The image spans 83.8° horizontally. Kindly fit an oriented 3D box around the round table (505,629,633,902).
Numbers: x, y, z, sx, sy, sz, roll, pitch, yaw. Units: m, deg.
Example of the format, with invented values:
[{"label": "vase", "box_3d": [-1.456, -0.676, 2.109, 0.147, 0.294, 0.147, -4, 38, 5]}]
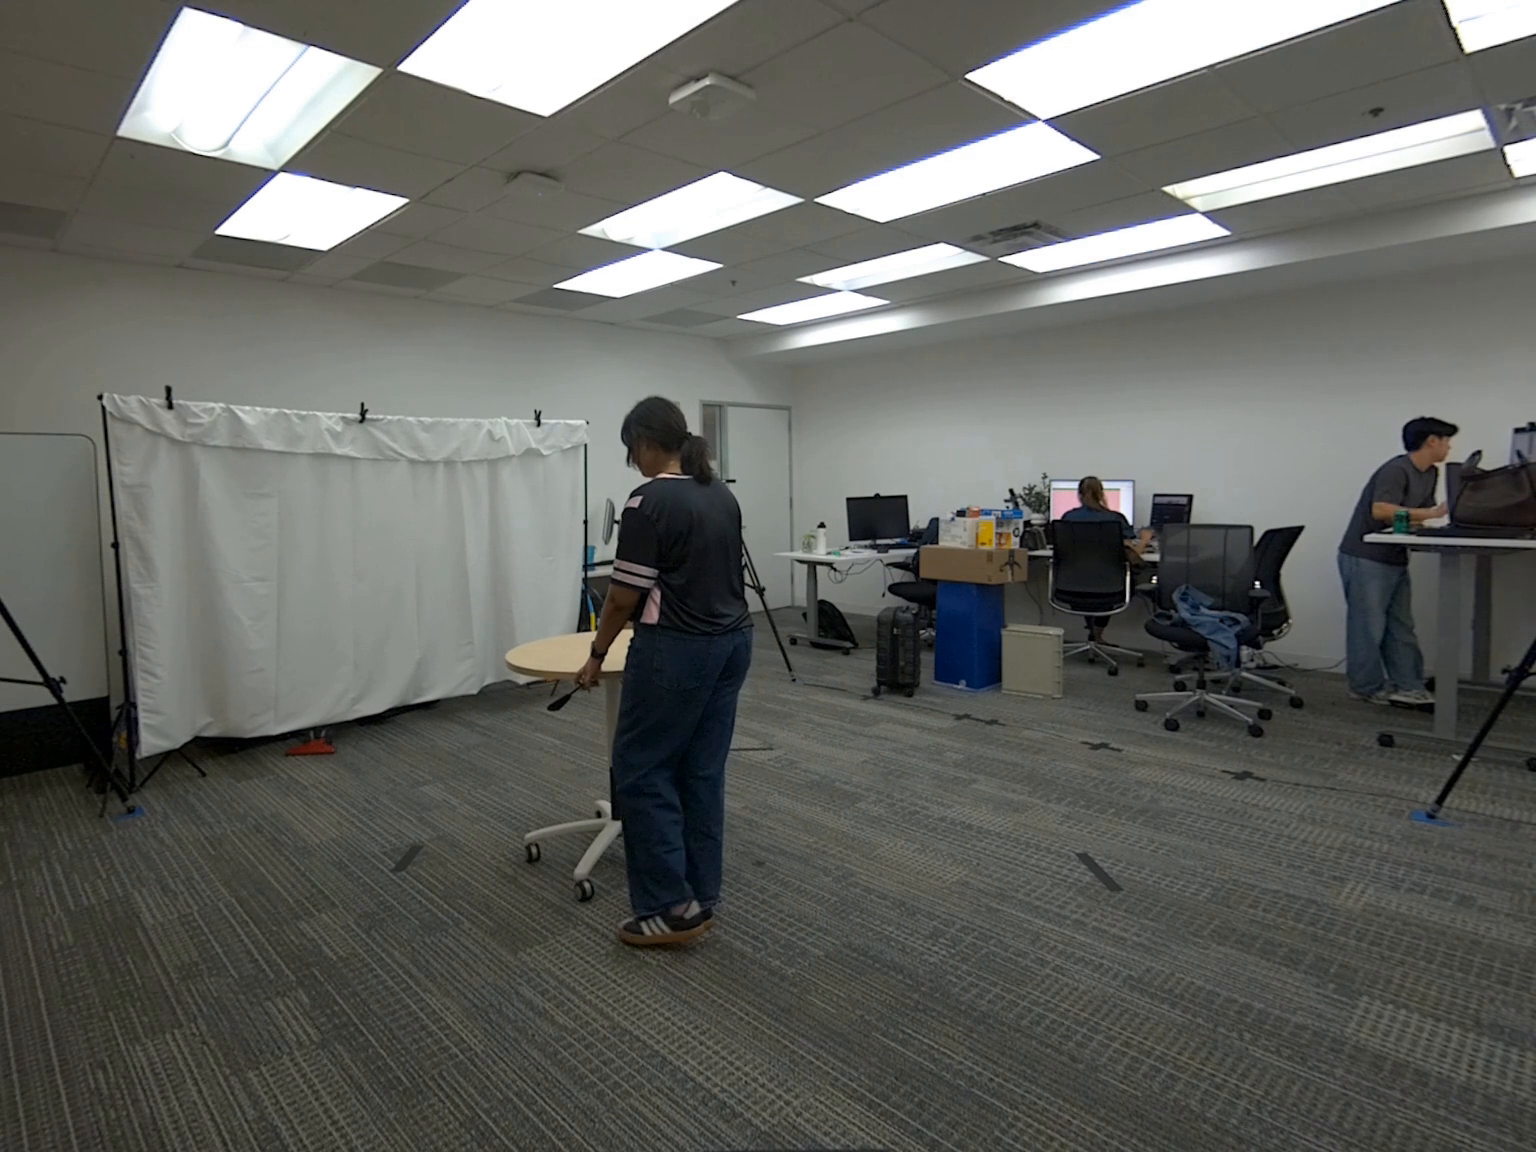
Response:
[{"label": "round table", "box_3d": [-0.562, 0.657, 3.184, 0.763, 0.791, 0.768, -2, 5, -1]}]
